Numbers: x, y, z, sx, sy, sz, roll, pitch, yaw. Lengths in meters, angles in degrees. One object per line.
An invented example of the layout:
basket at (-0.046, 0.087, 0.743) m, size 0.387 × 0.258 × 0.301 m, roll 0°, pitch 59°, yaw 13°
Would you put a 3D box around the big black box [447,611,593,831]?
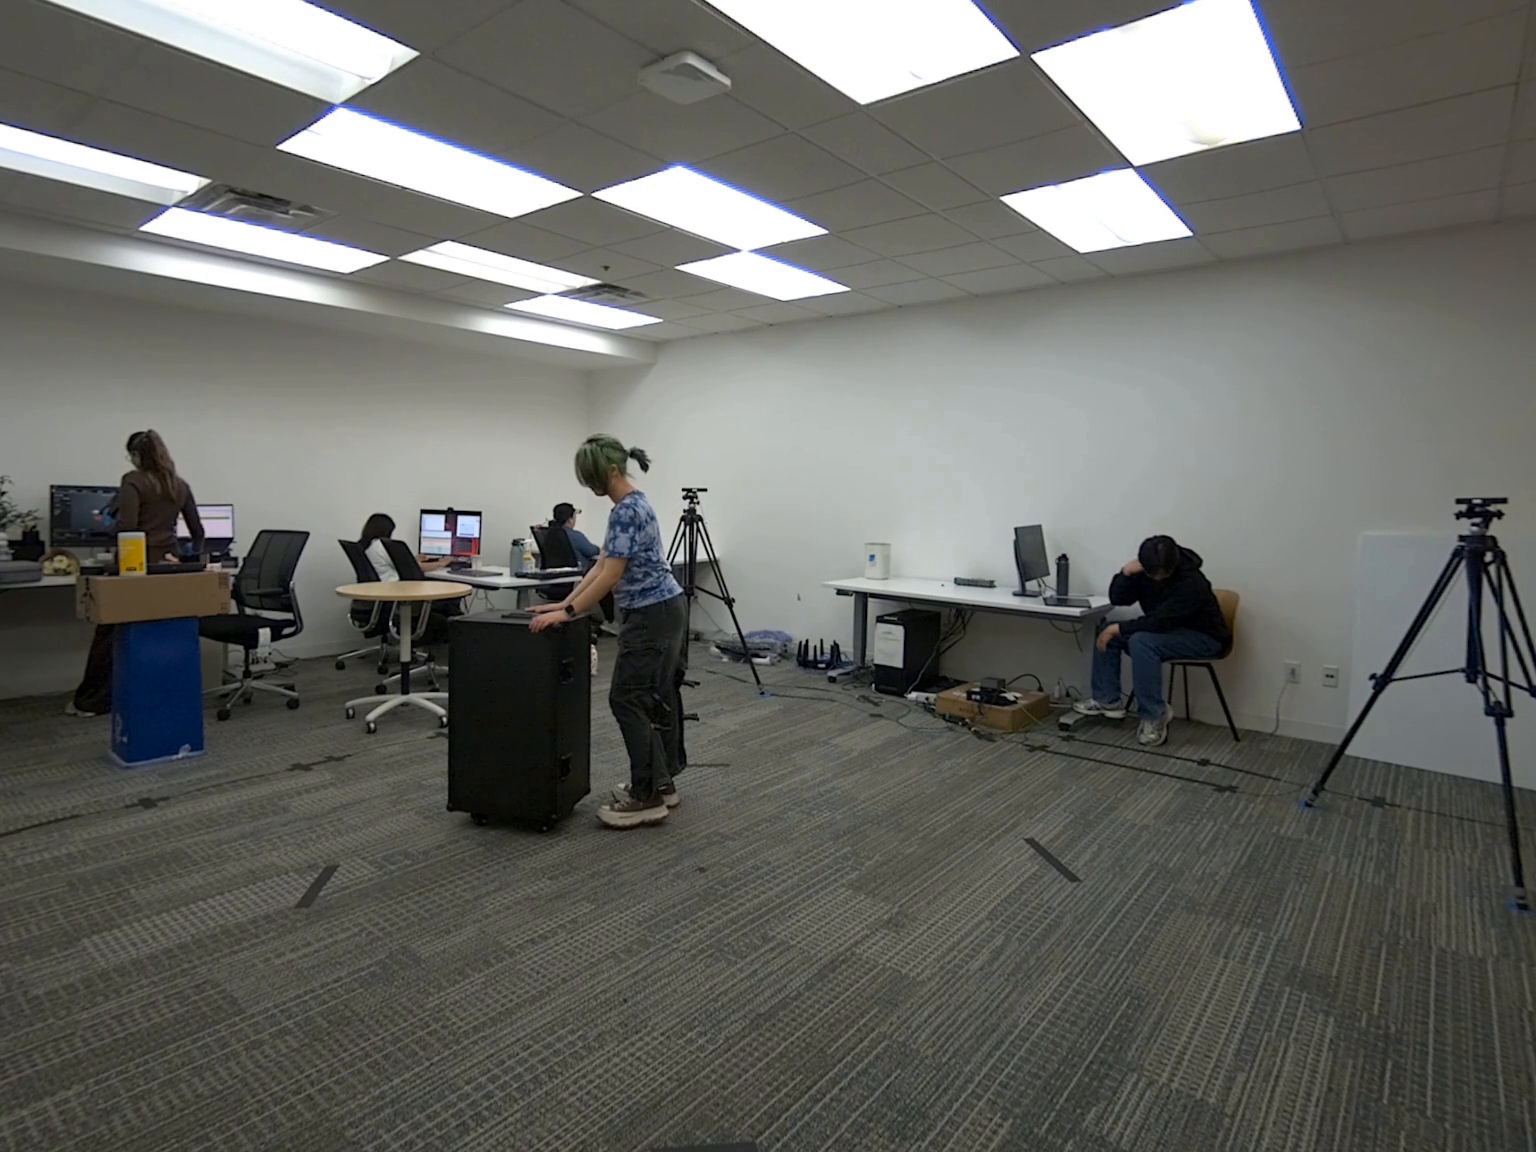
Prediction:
big black box at (-1.047, 0.589, 3.562) m, size 0.529 × 0.860 × 0.391 m, roll 2°, pitch 2°, yaw 13°
